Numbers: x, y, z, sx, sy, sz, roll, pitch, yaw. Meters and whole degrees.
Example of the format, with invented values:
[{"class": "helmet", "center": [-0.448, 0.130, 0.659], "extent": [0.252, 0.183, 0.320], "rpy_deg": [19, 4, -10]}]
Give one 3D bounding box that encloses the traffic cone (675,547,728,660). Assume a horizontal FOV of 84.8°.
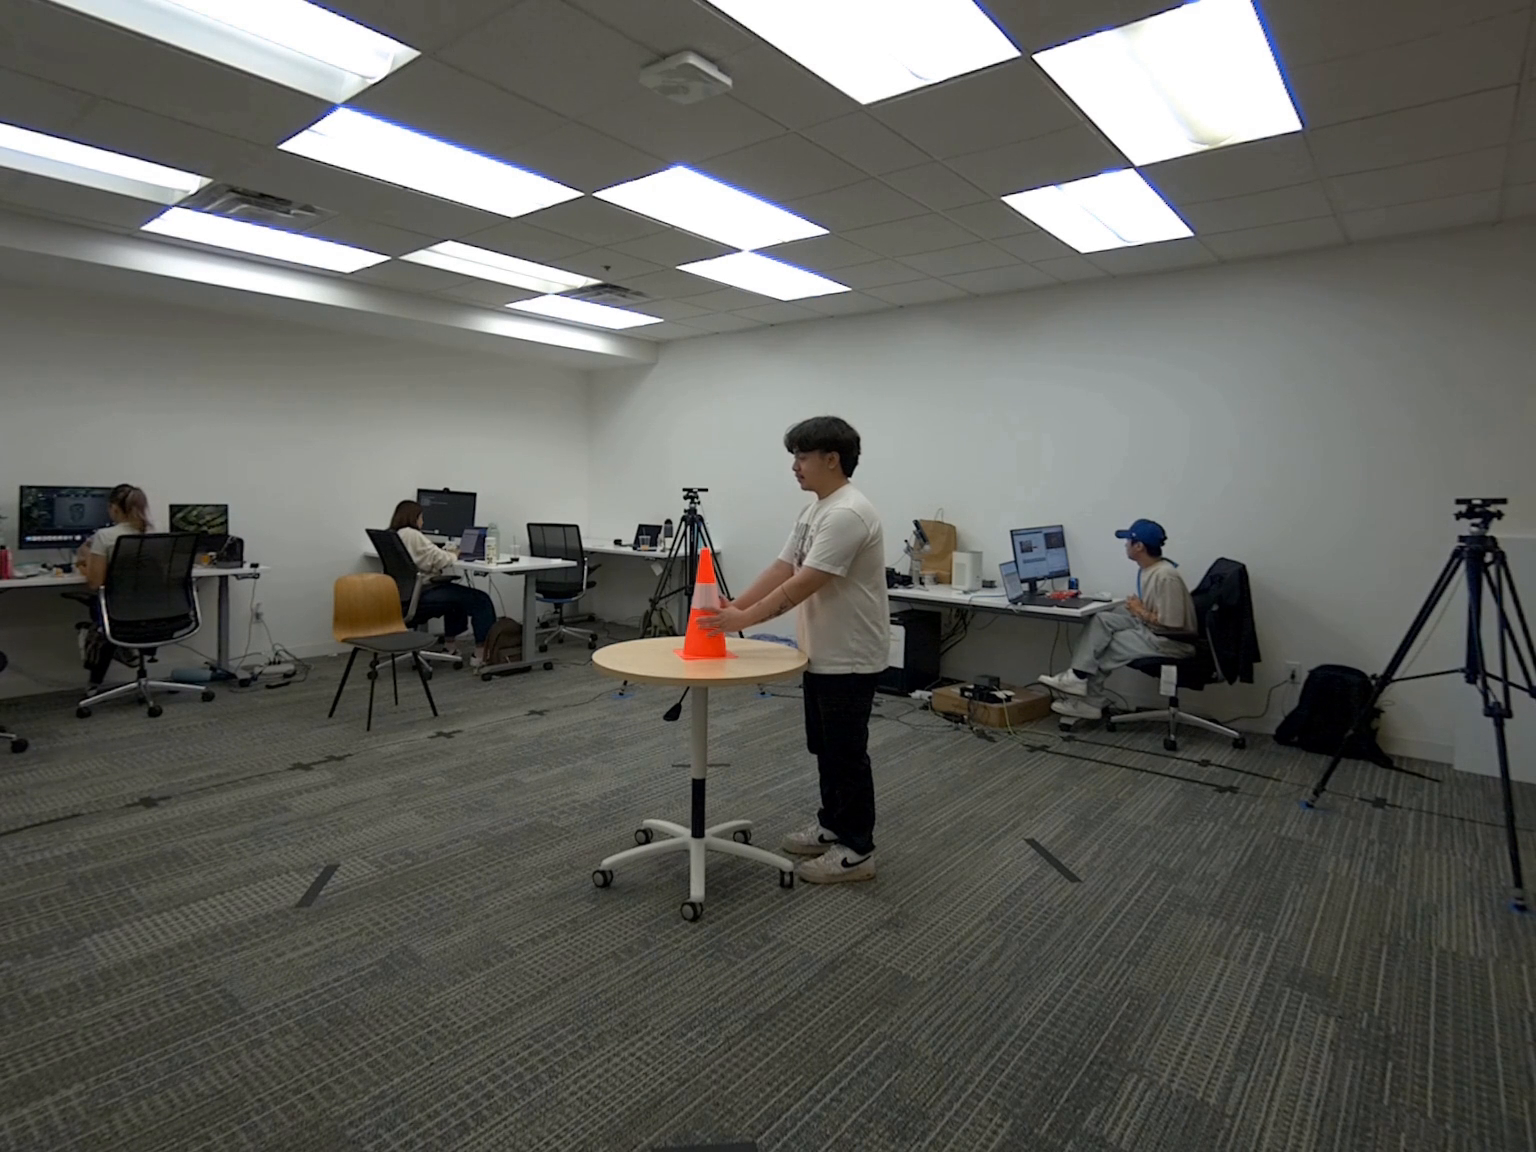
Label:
[{"class": "traffic cone", "center": [-0.236, 0.091, 3.045], "extent": [0.208, 0.382, 0.200], "rpy_deg": [3, 5, 24]}]
